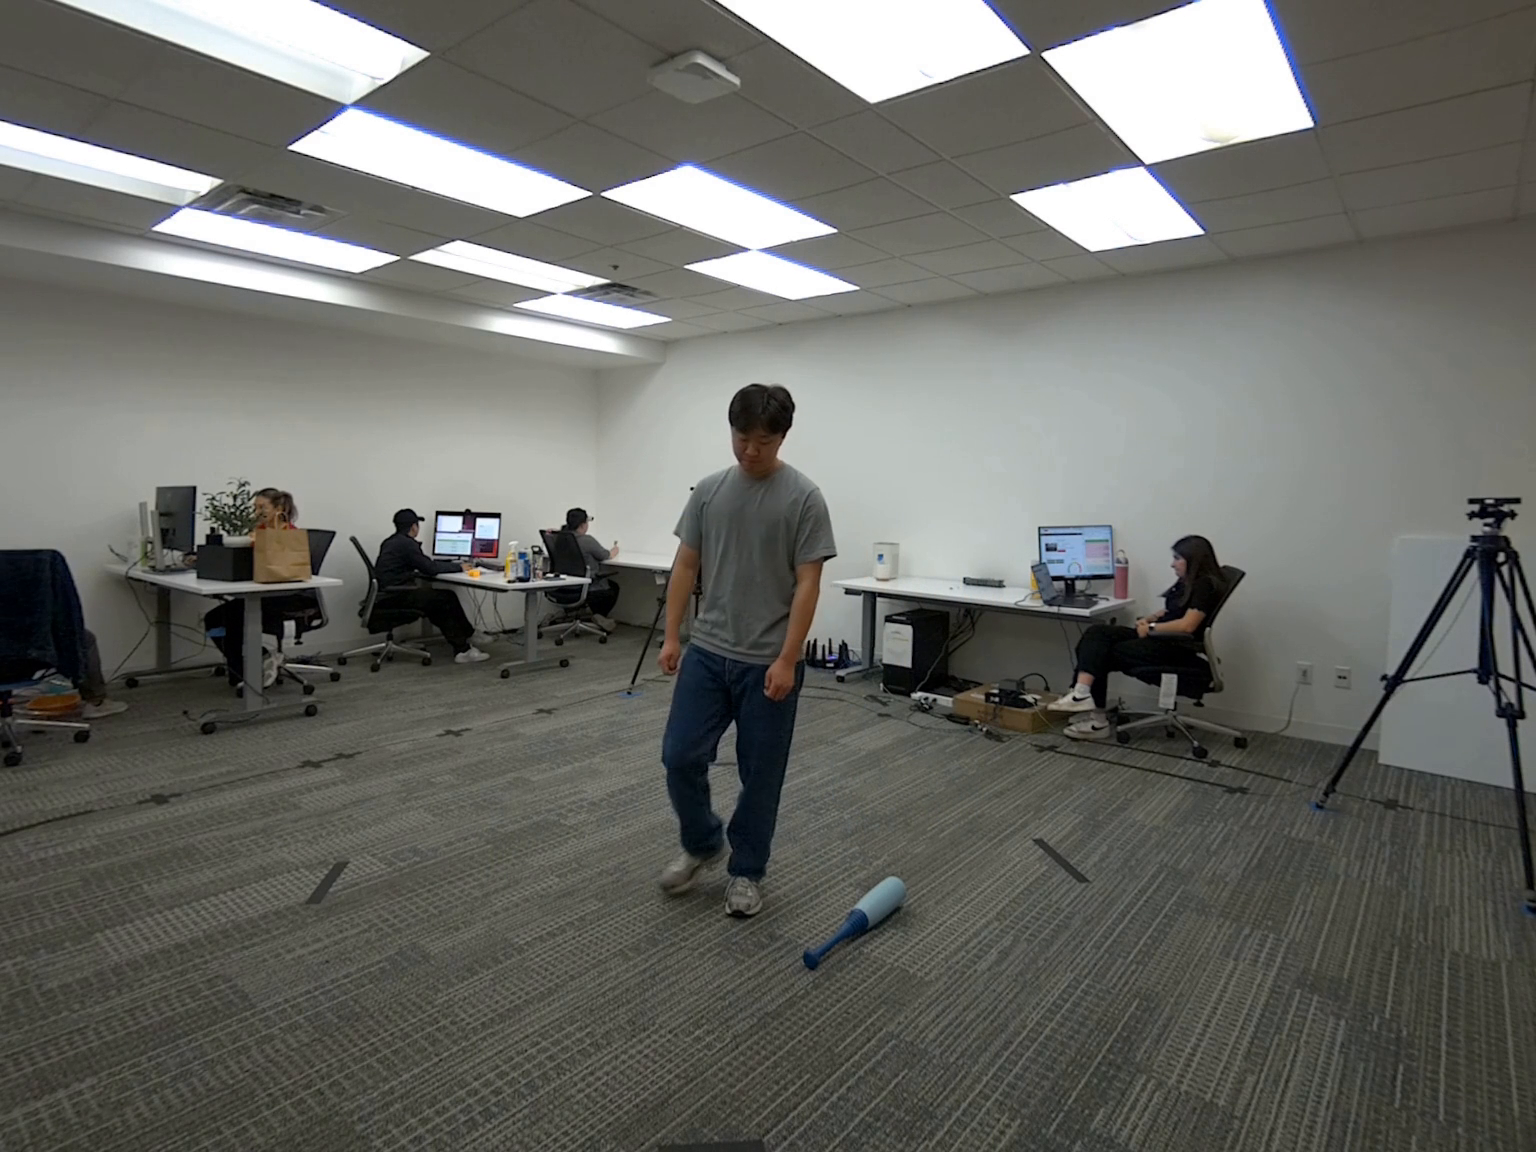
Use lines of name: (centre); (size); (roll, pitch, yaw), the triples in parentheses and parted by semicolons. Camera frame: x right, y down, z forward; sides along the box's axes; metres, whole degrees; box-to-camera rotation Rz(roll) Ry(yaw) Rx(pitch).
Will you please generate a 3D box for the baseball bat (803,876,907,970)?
baseball bat: (0.274, 1.089, 2.667); (0.092, 0.088, 0.529); (4, 10, 38)
